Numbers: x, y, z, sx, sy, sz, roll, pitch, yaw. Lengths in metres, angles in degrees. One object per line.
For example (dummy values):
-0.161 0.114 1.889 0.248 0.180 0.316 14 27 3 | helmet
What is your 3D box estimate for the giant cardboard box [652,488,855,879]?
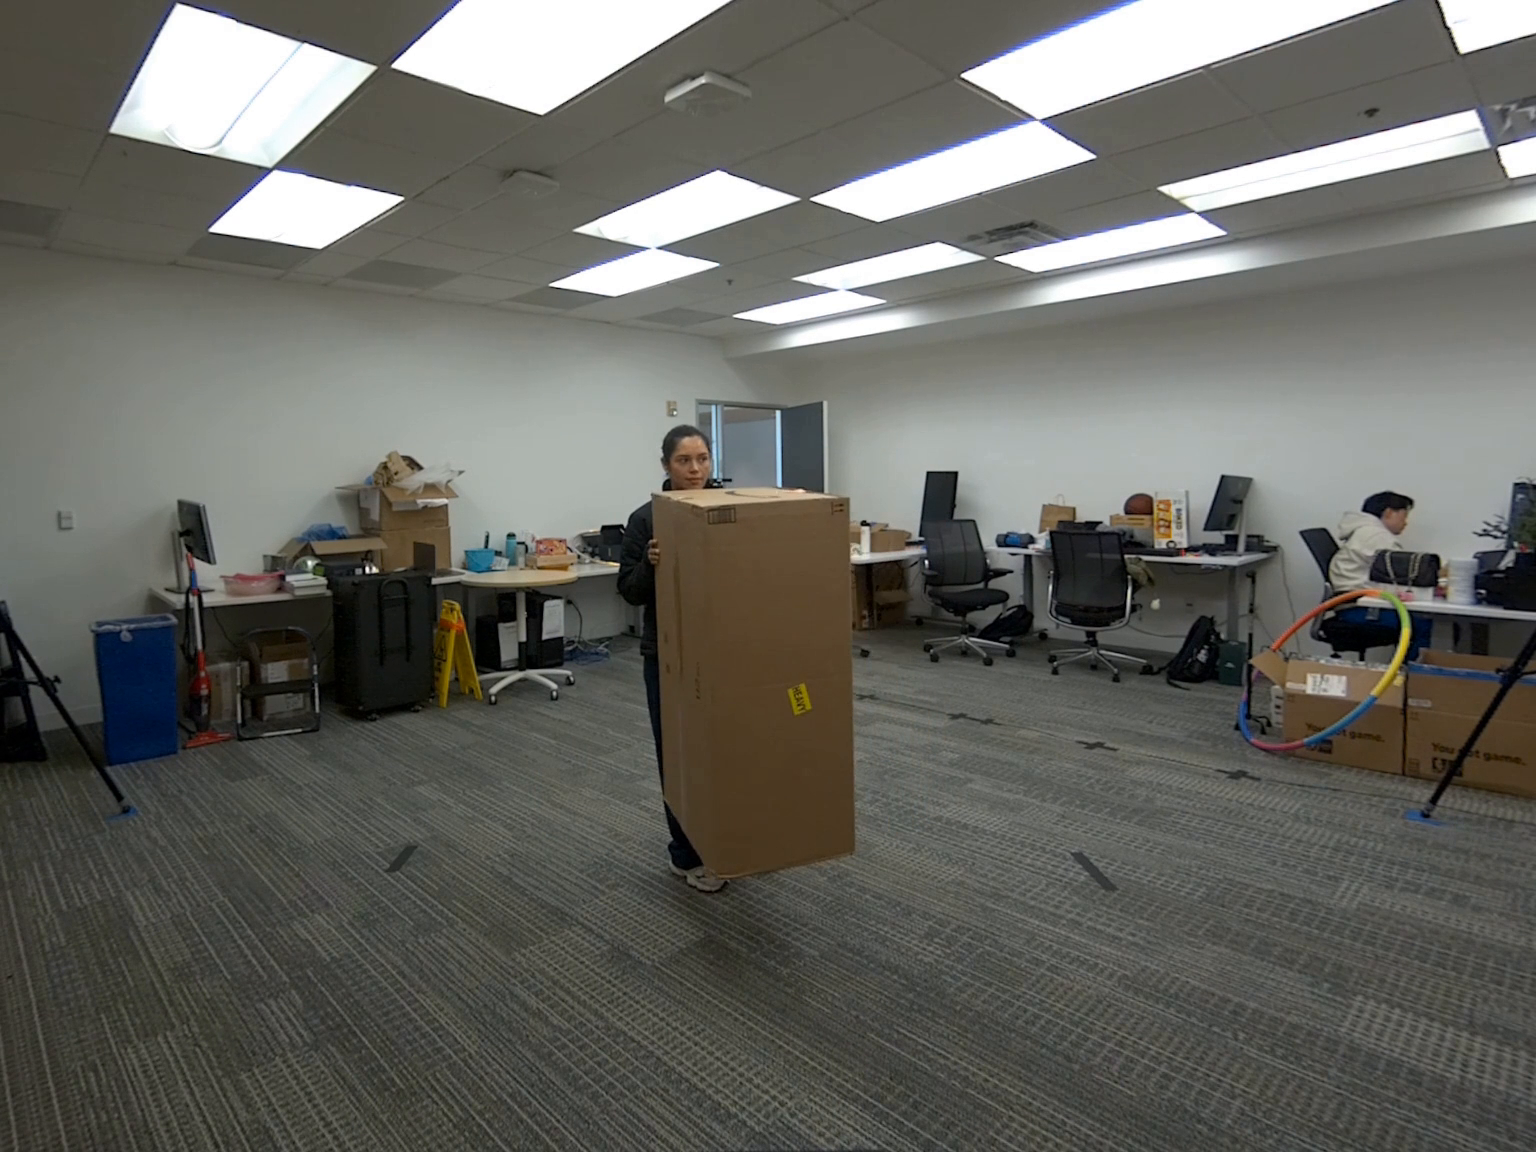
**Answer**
-0.044 0.268 2.594 0.419 1.019 0.591 -4 8 -20 | giant cardboard box
